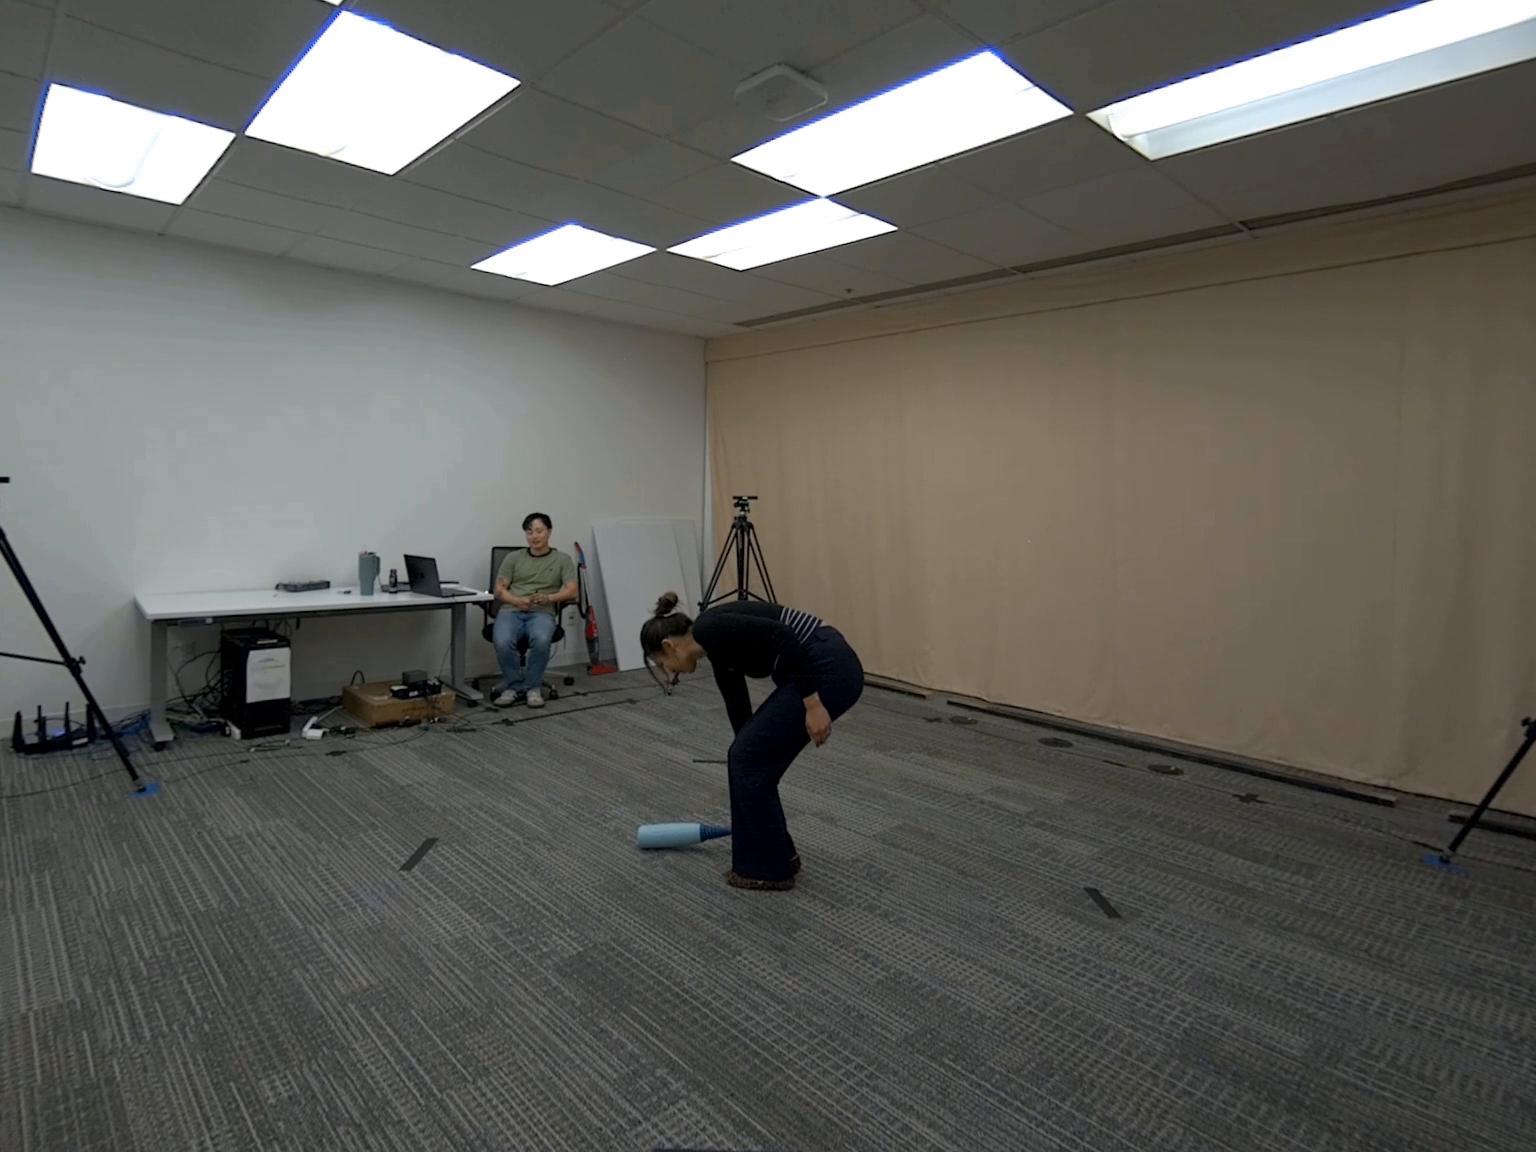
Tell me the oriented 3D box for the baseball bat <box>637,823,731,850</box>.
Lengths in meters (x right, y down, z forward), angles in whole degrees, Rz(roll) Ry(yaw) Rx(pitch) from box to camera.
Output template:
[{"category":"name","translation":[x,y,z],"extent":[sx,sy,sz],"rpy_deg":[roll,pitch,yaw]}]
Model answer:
[{"category":"baseball bat","translation":[-0.252,1.008,3.307],"extent":[0.545,0.089,0.089],"rpy_deg":[-4,4,5]}]
